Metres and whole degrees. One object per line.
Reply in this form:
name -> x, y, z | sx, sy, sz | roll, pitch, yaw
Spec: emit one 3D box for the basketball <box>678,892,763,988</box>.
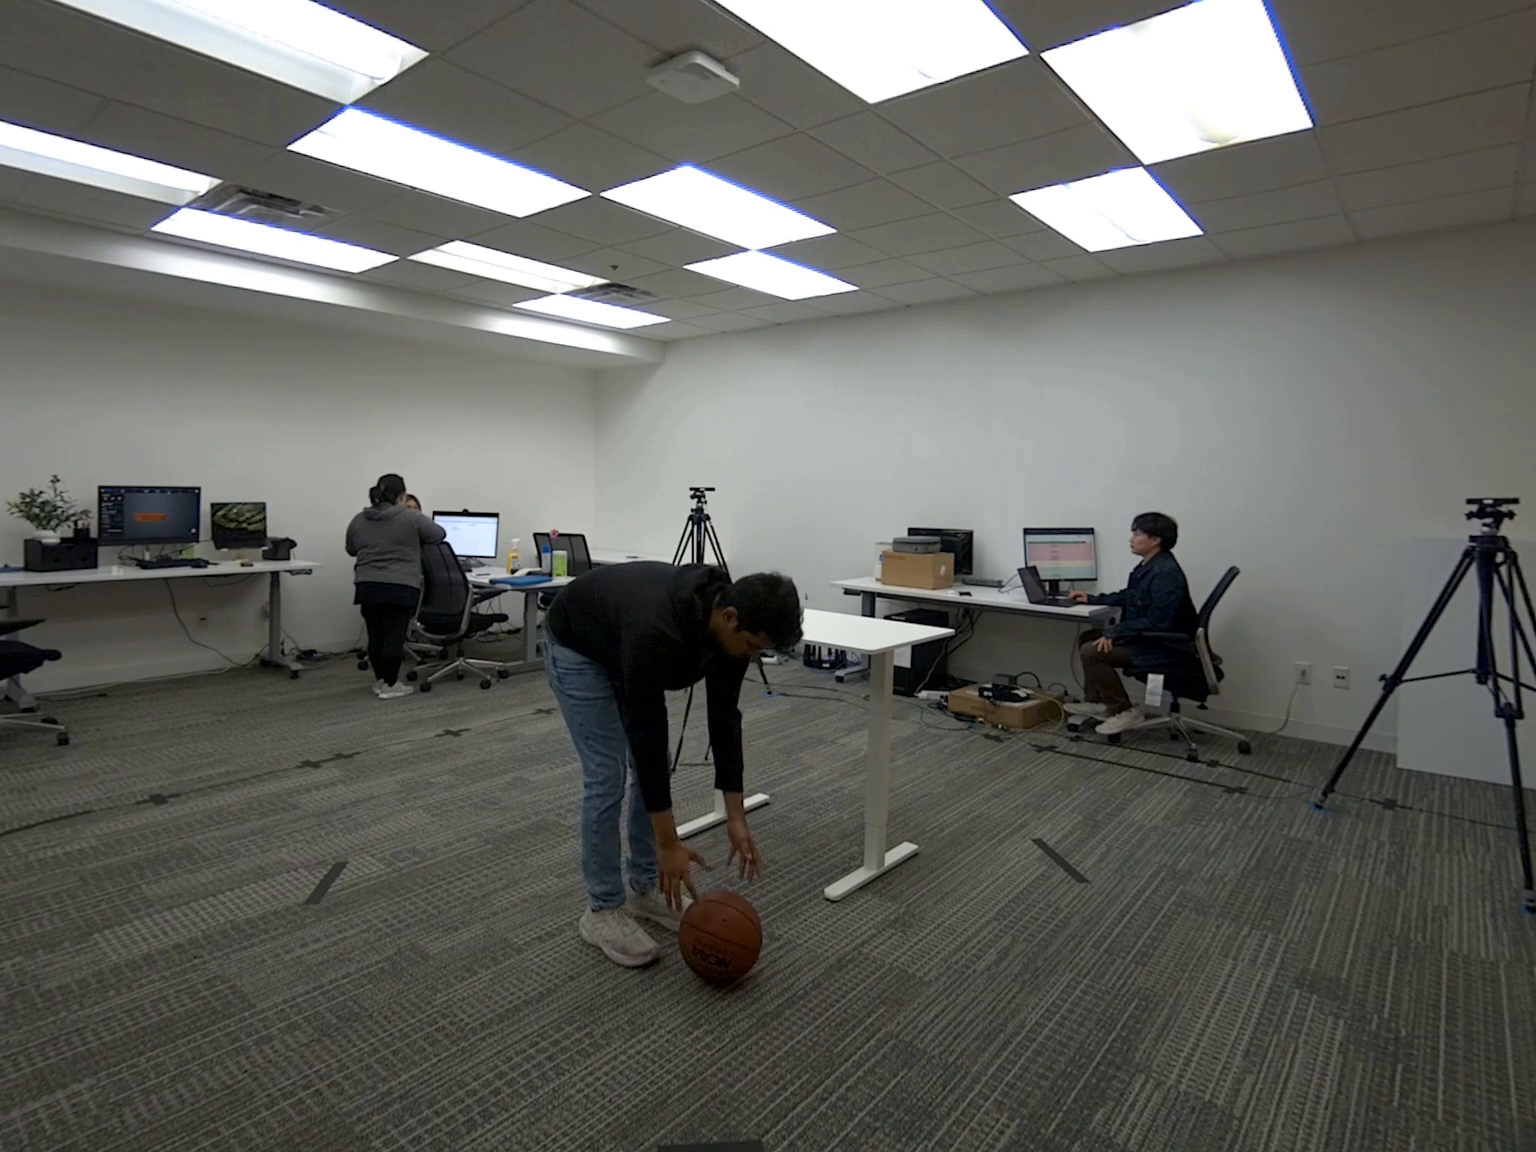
basketball -> -0.143, 1.020, 2.400 | 0.235, 0.235, 0.237 | 1, 4, -2
